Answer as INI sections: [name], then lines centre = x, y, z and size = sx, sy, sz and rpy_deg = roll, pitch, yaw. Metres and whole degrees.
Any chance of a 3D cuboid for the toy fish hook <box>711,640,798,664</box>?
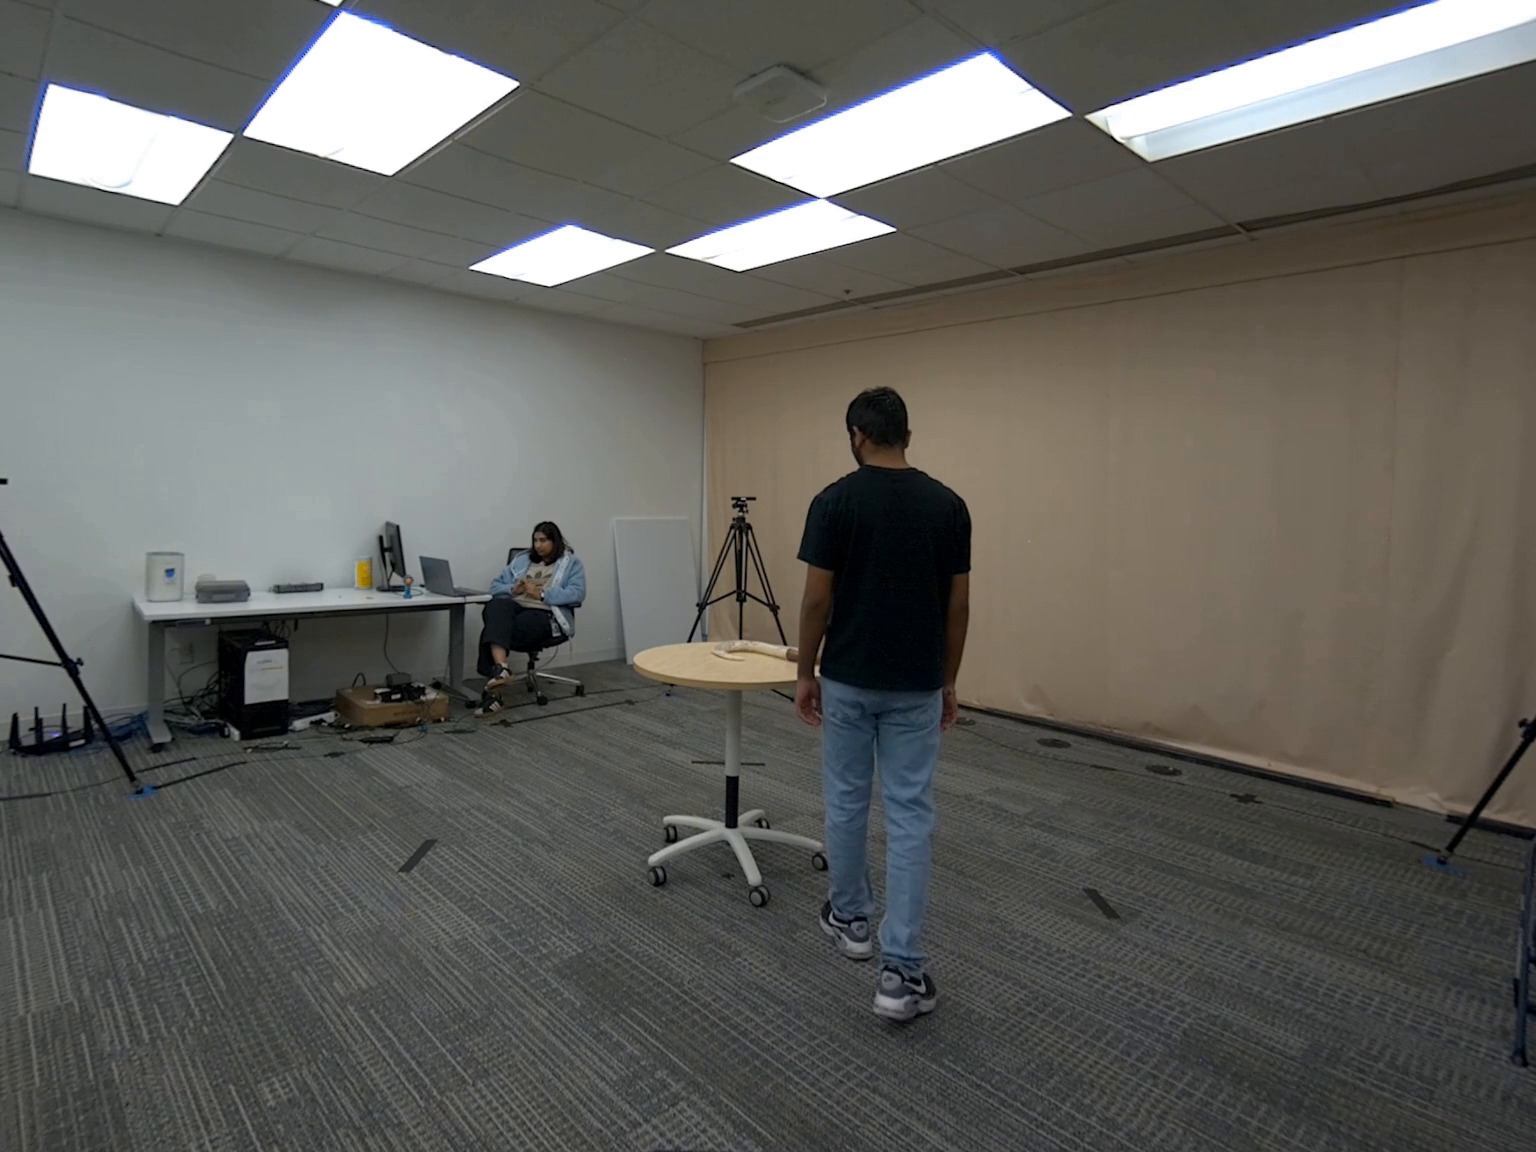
[toy fish hook]
centre = 0.010, 0.304, 3.195
size = 0.519, 0.048, 0.220
rpy_deg = 5, 10, 36
